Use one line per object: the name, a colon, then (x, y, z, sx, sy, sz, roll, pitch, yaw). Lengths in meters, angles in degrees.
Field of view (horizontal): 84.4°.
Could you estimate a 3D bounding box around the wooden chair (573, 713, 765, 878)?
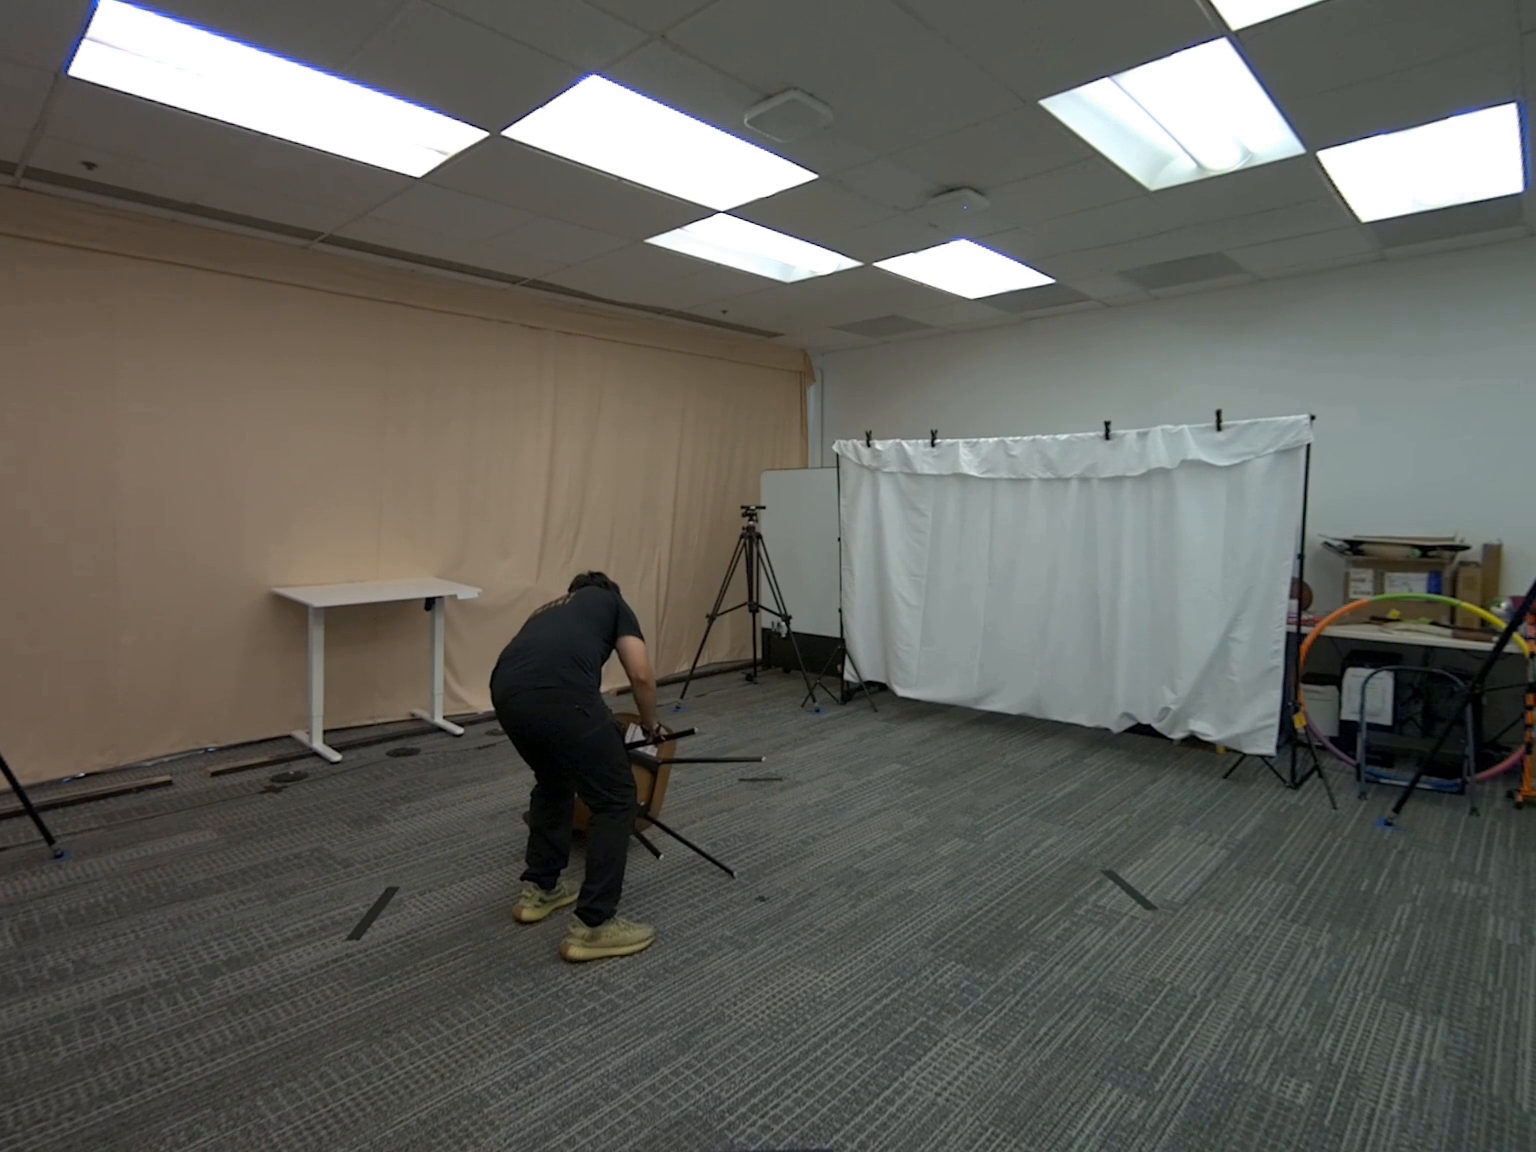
wooden chair: (-0.528, 0.827, 3.349, 0.904, 0.527, 0.460, -3, -25, 37)
